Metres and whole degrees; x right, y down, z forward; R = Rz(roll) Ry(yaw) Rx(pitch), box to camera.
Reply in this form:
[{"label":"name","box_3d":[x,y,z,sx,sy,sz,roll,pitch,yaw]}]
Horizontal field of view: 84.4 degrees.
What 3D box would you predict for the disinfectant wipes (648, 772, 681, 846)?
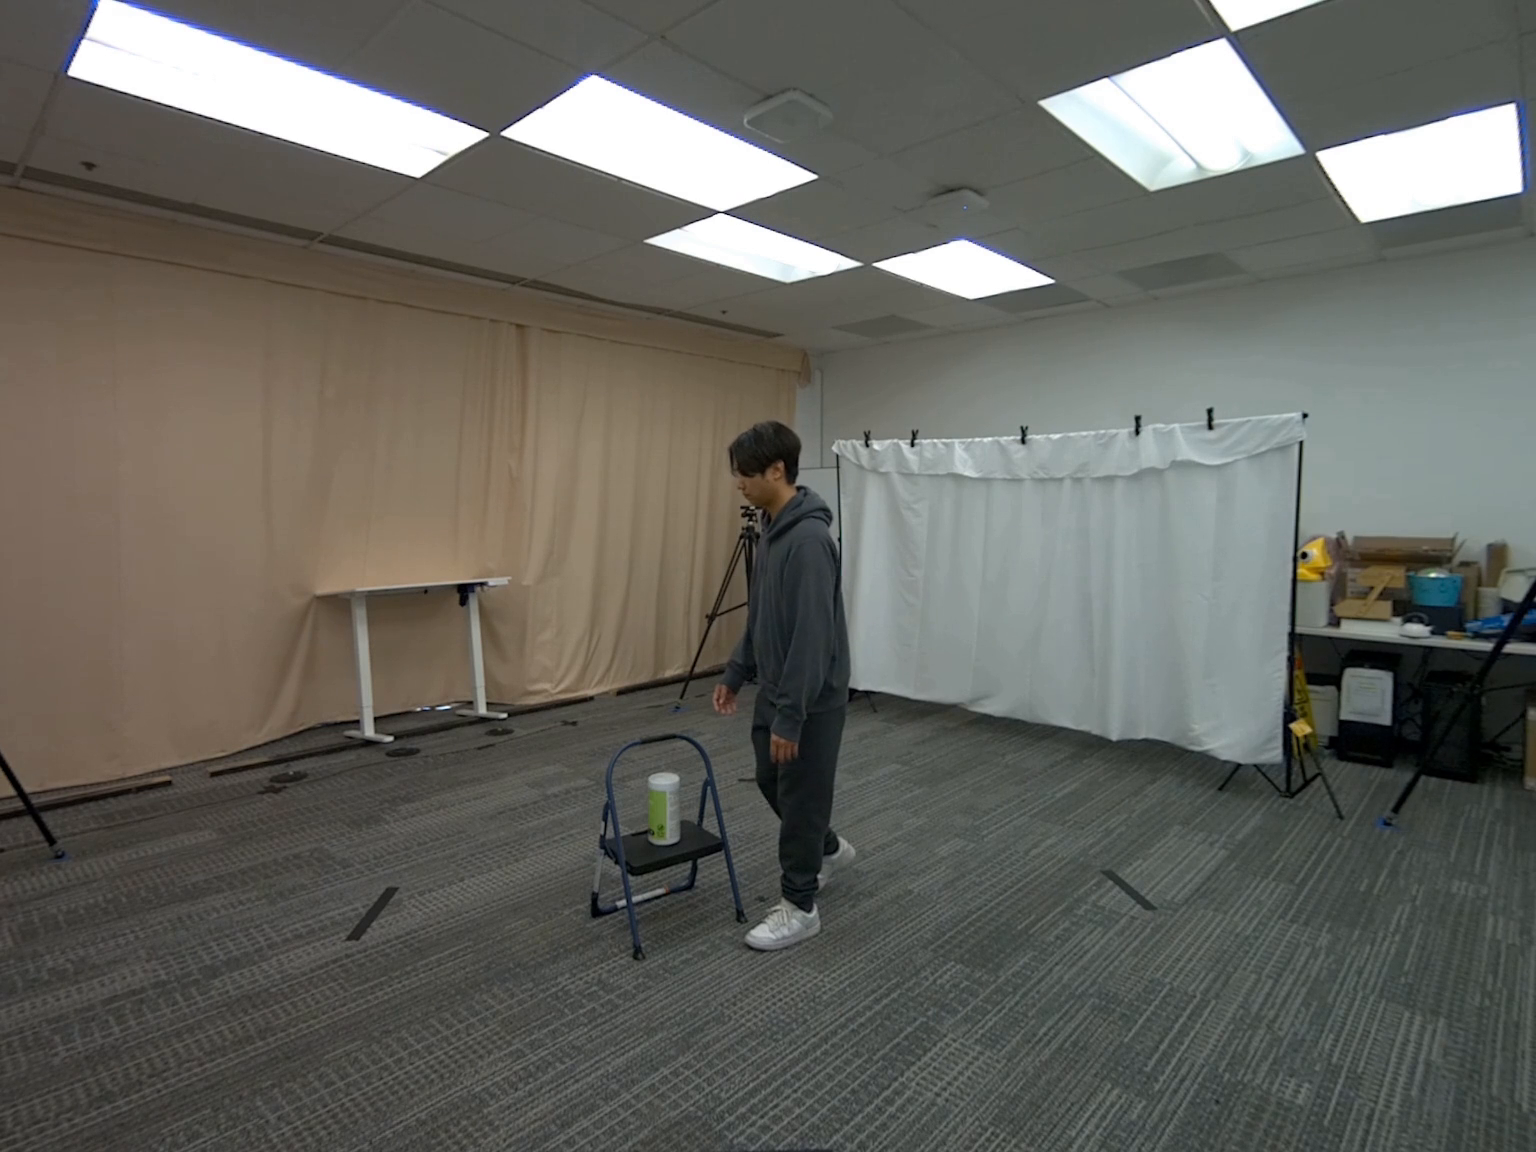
[{"label":"disinfectant wipes","box_3d":[-0.350,0.795,2.853,0.118,0.217,0.118,0,3,-2]}]
